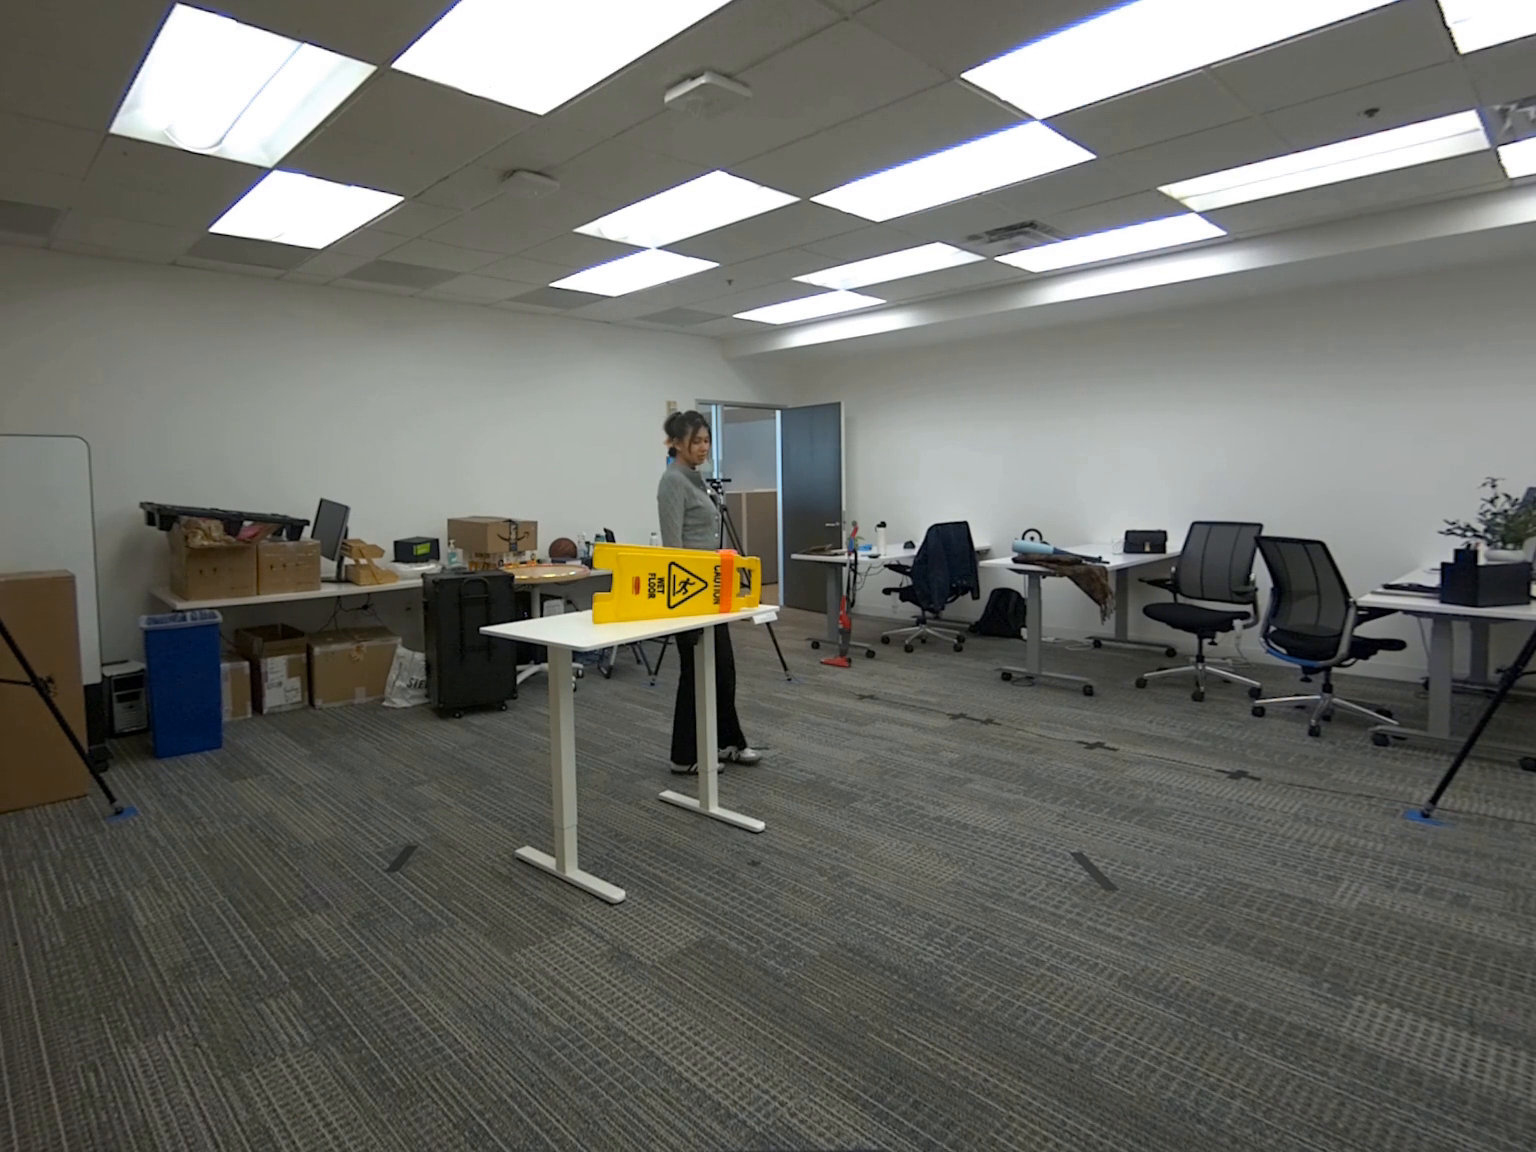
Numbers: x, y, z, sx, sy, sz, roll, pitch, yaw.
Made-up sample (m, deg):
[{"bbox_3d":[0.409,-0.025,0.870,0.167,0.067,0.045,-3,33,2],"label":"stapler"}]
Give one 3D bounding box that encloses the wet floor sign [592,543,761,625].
[{"bbox_3d":[-0.348,0.025,3.296,0.640,0.281,0.293,1,5,-9],"label":"wet floor sign"}]
